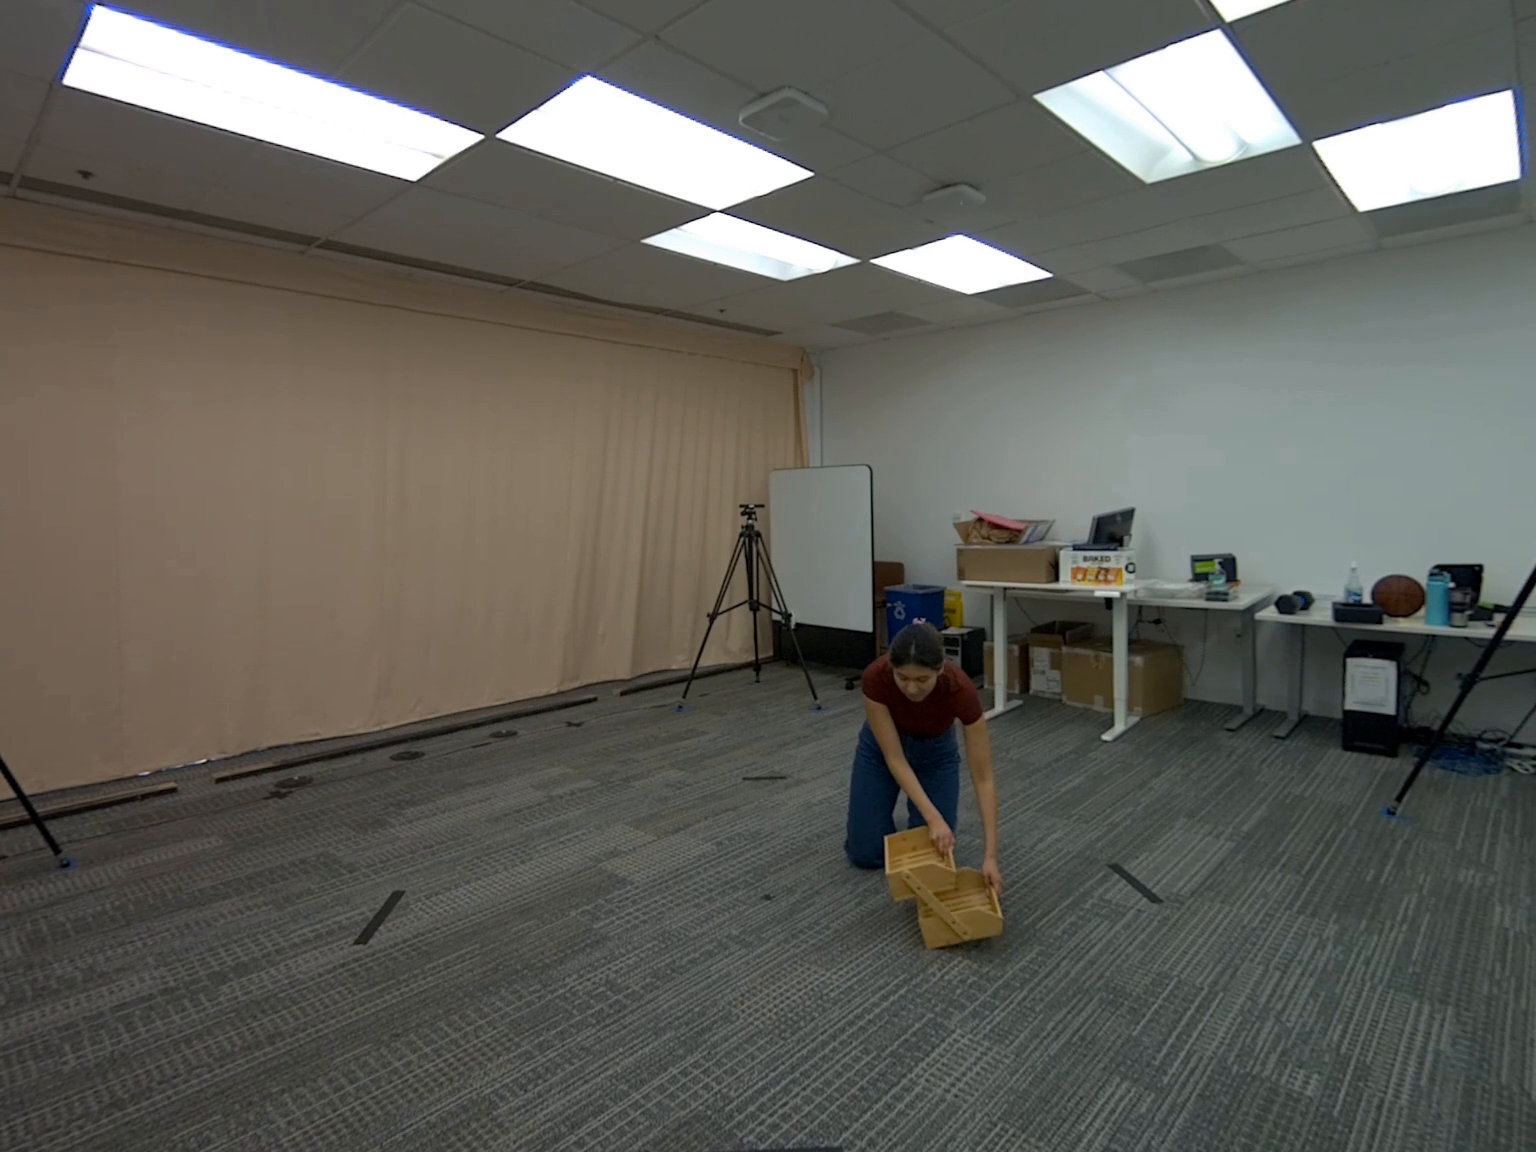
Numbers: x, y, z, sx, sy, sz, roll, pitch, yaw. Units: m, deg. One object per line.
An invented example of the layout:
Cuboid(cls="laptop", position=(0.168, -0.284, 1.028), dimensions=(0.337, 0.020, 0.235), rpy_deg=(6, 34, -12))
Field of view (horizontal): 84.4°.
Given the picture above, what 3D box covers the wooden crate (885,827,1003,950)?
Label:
Cuboid(cls="wooden crate", position=(0.568, 0.995, 2.749), dimensions=(0.305, 0.273, 0.322), rpy_deg=(-17, 1, 10))
